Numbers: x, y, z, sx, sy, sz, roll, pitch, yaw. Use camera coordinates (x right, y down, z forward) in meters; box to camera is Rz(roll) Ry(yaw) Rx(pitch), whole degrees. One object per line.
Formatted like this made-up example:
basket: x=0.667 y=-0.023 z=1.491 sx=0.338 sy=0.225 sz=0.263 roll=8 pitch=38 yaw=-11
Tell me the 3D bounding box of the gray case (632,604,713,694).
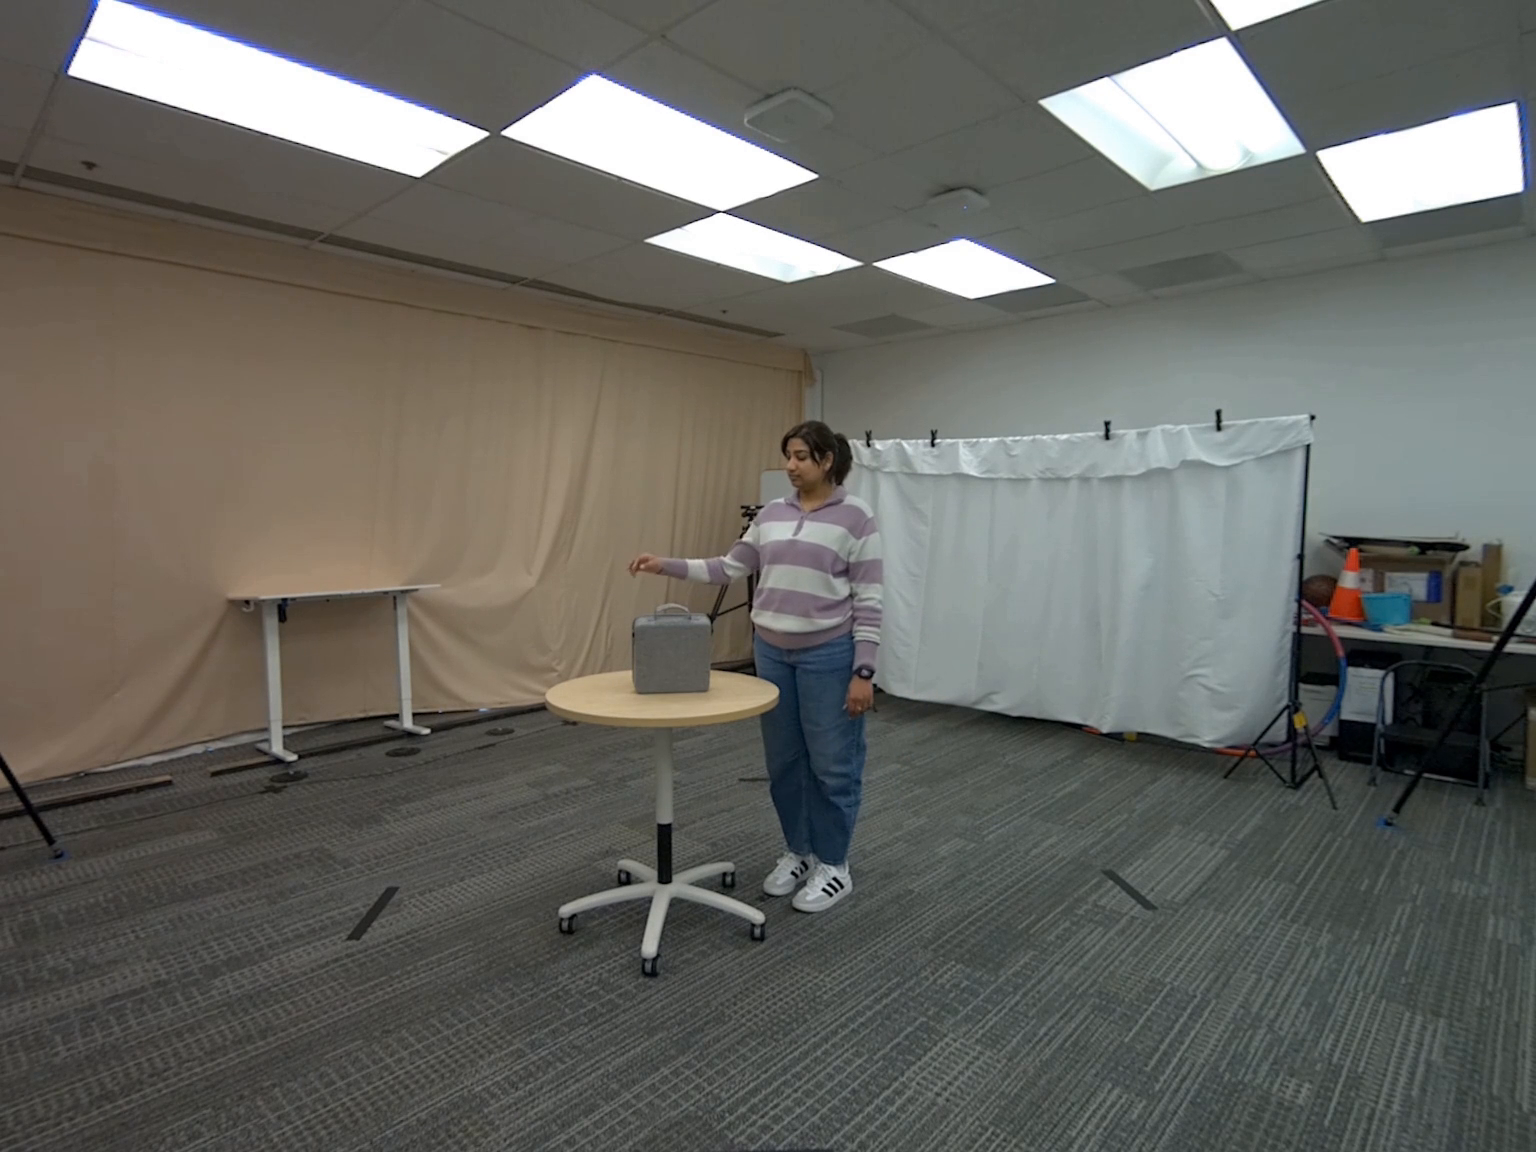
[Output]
gray case: x=-0.312 y=0.250 z=2.750 sx=0.255 sy=0.259 sz=0.106 roll=-1 pitch=12 yaw=-6
